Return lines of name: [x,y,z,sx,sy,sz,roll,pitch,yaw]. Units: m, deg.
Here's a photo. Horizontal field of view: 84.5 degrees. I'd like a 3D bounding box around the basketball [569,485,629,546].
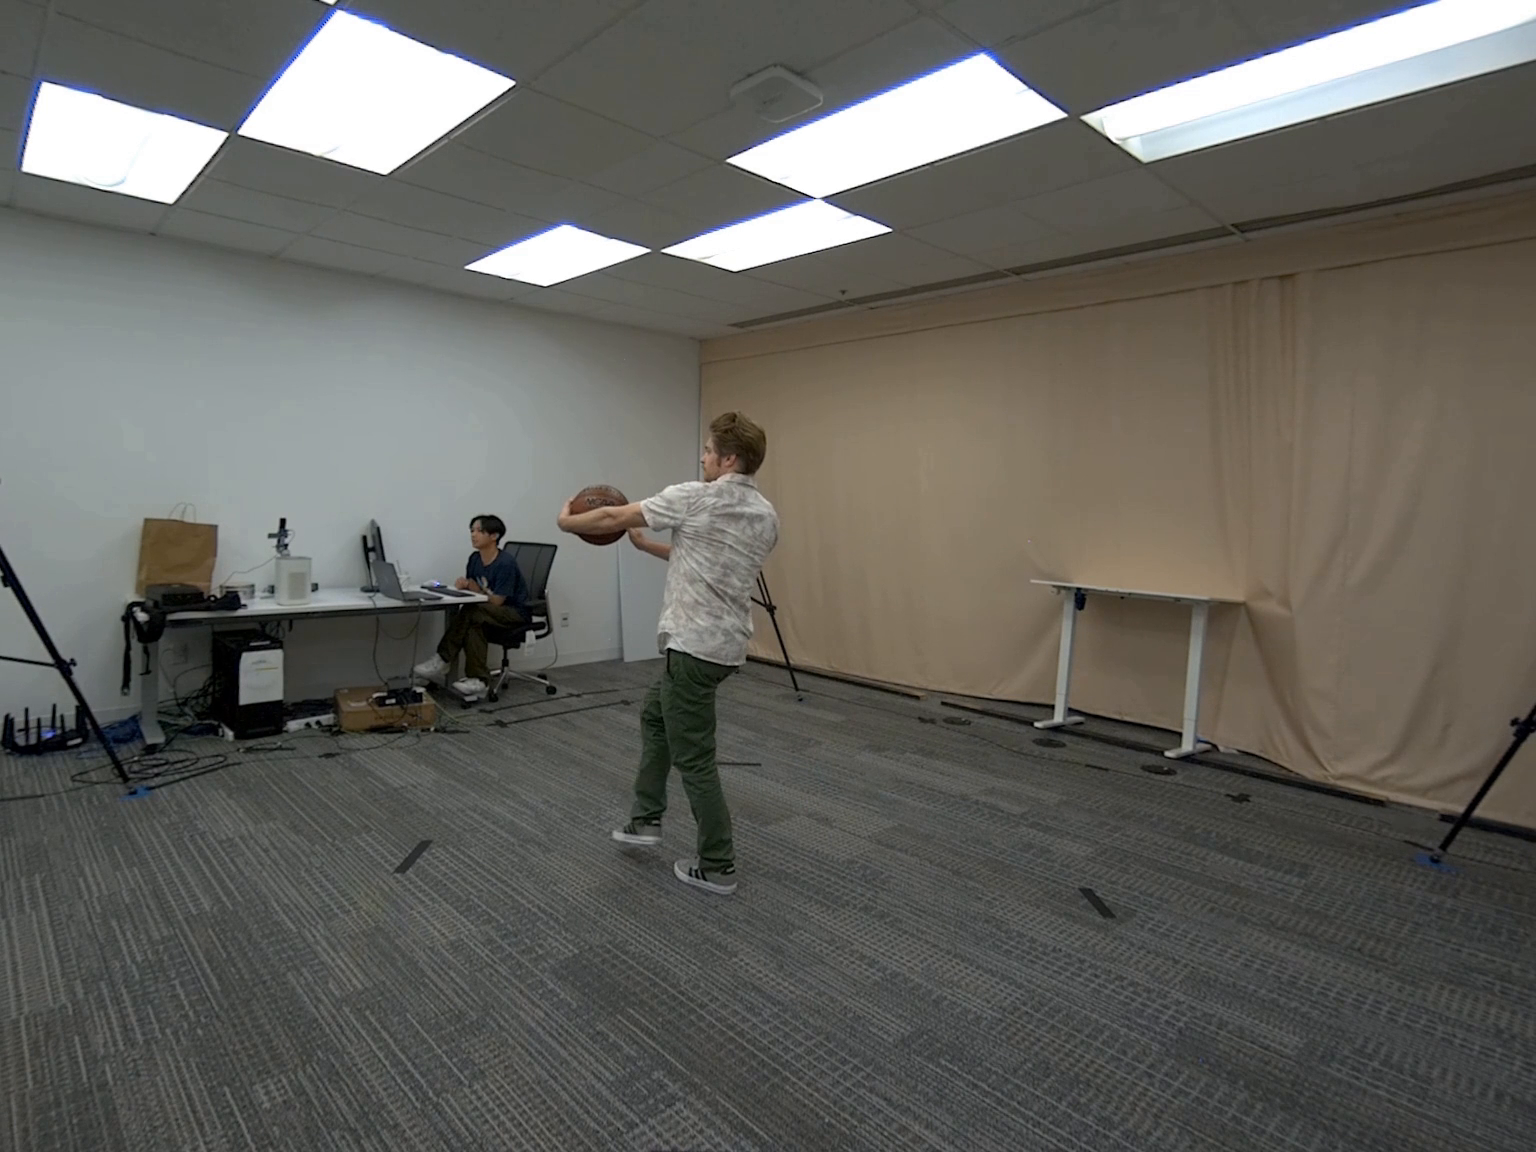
basketball: [-0.663,-0.243,3.284,0.236,0.235,0.237,1,4,-1]
